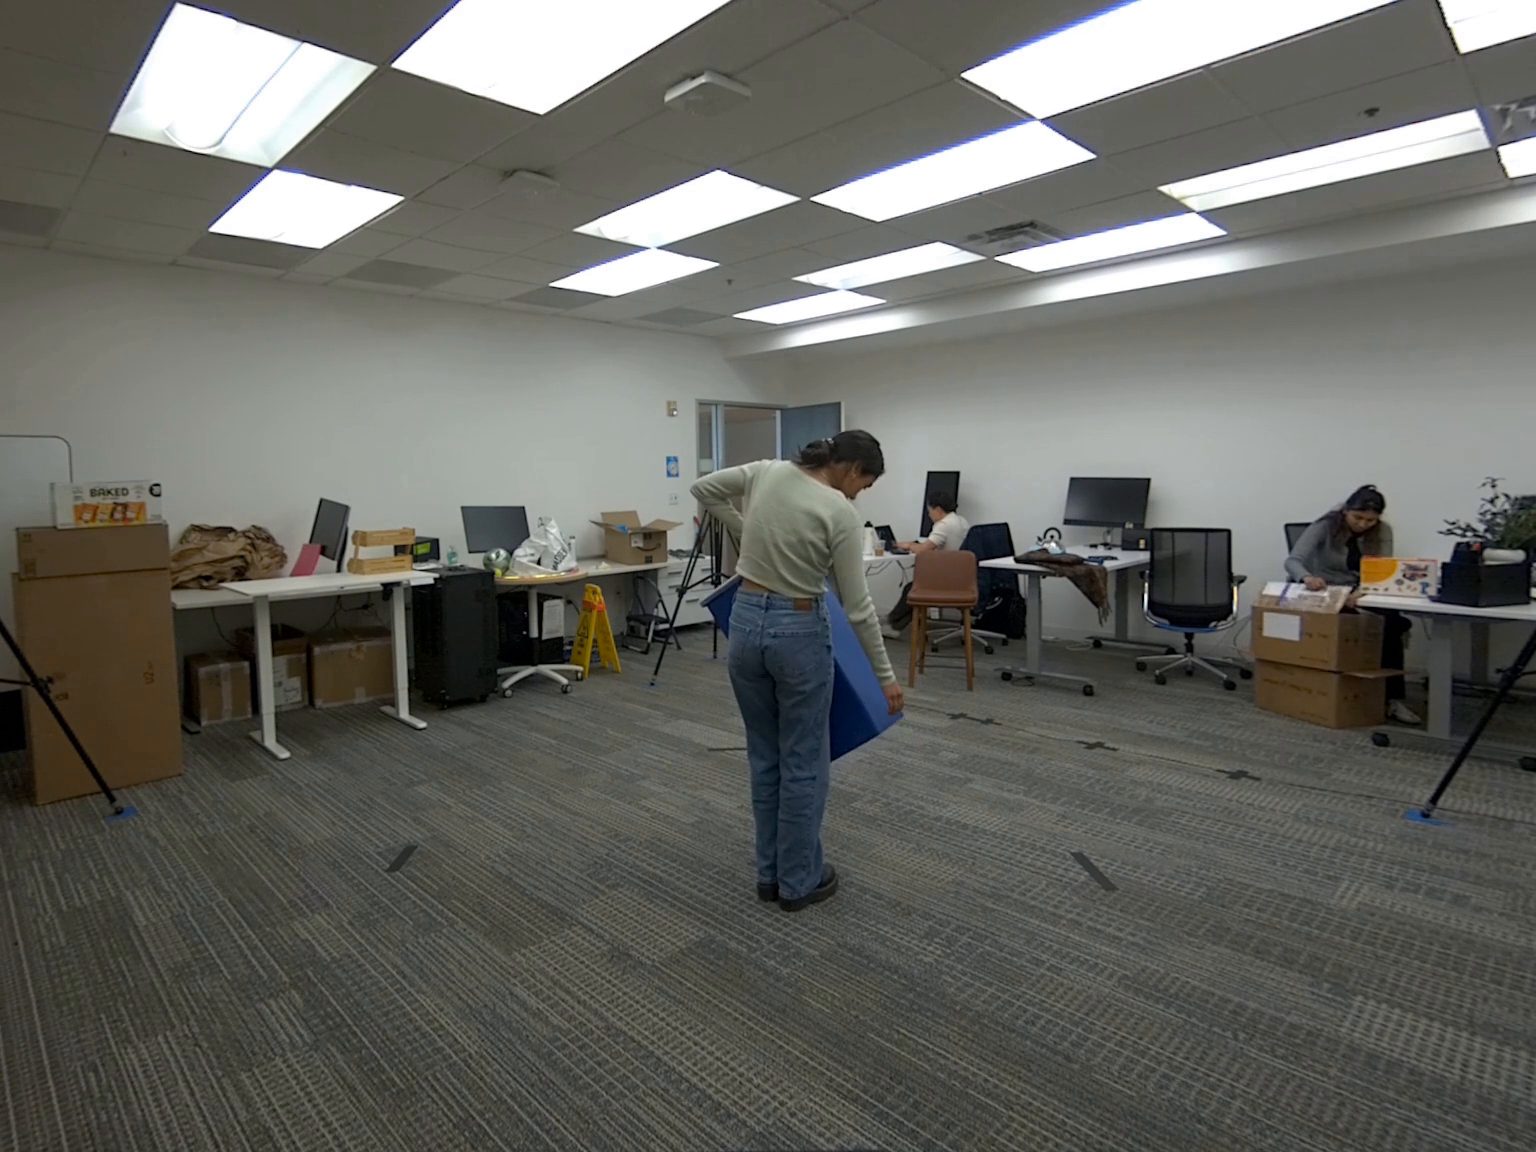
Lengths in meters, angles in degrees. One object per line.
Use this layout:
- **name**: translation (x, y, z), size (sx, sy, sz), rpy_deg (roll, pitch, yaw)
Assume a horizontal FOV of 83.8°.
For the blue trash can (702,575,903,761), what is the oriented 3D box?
- **blue trash can**: translation (0.138, 0.283, 3.080), size (0.380, 0.726, 0.366), rpy_deg (-37, -14, 23)
